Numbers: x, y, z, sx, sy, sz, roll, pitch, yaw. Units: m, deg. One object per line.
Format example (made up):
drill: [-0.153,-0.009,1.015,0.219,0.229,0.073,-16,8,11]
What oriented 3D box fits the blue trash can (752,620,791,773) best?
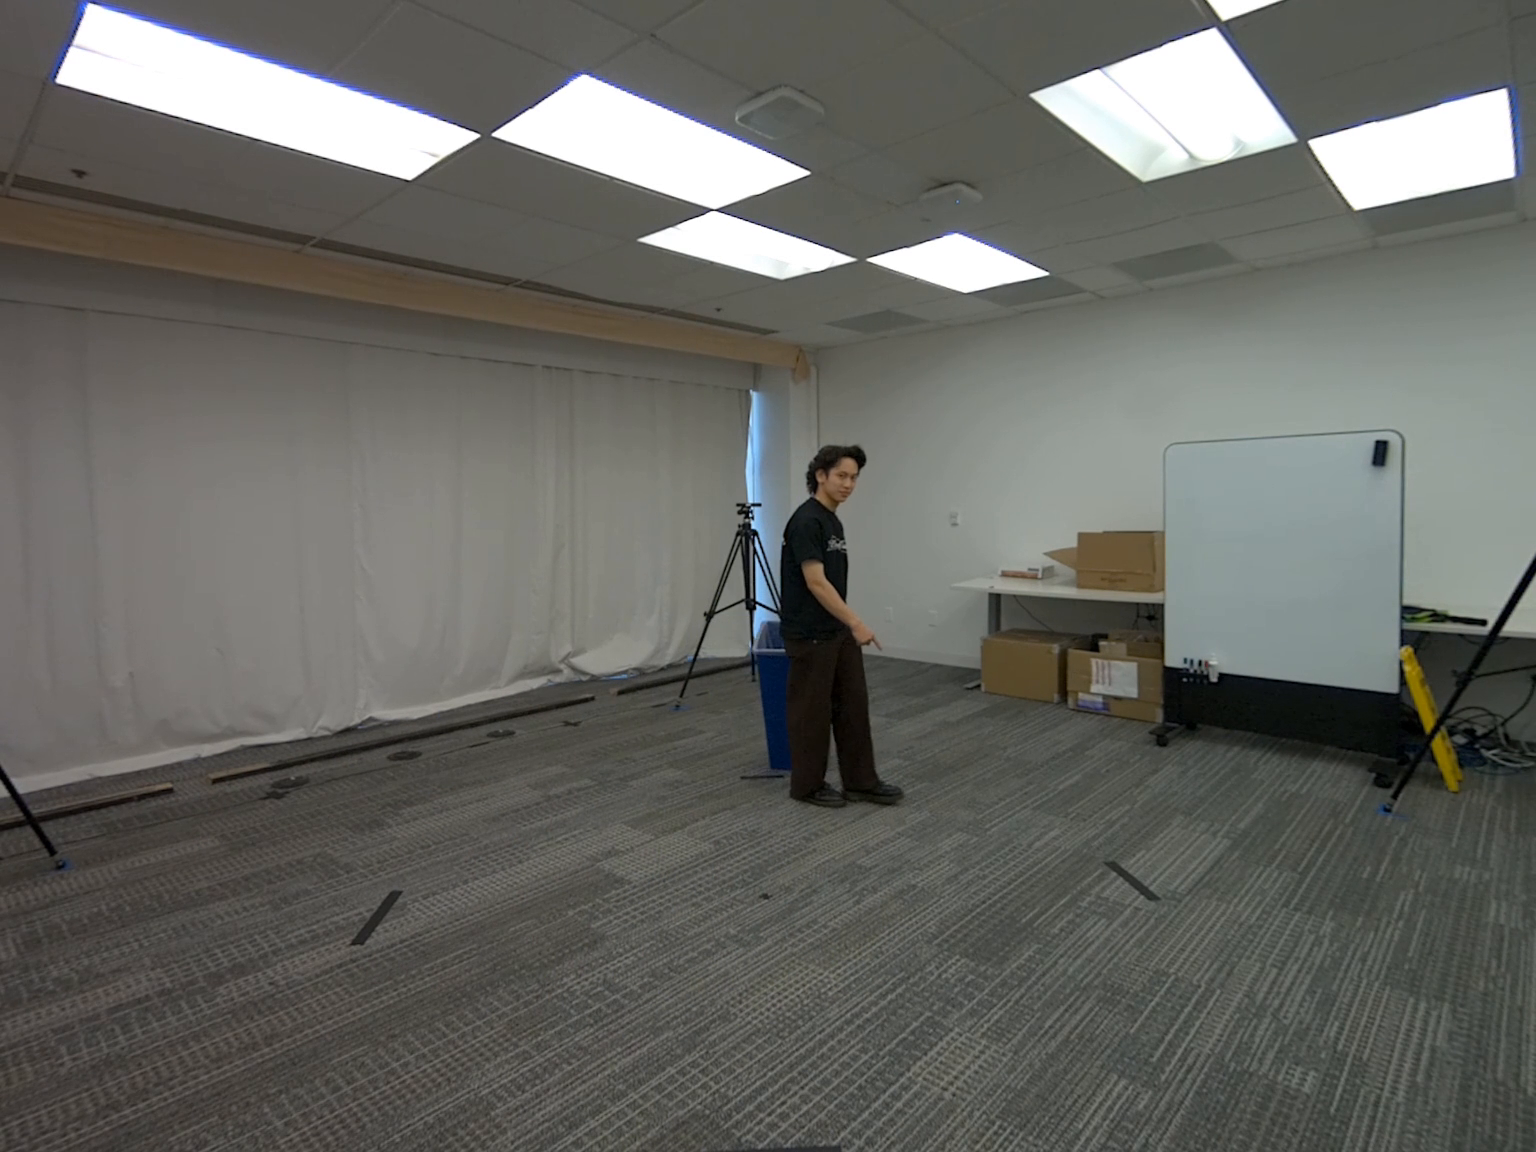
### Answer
blue trash can: [0.145,0.630,4.413,0.383,0.704,0.374,-1,18,10]
